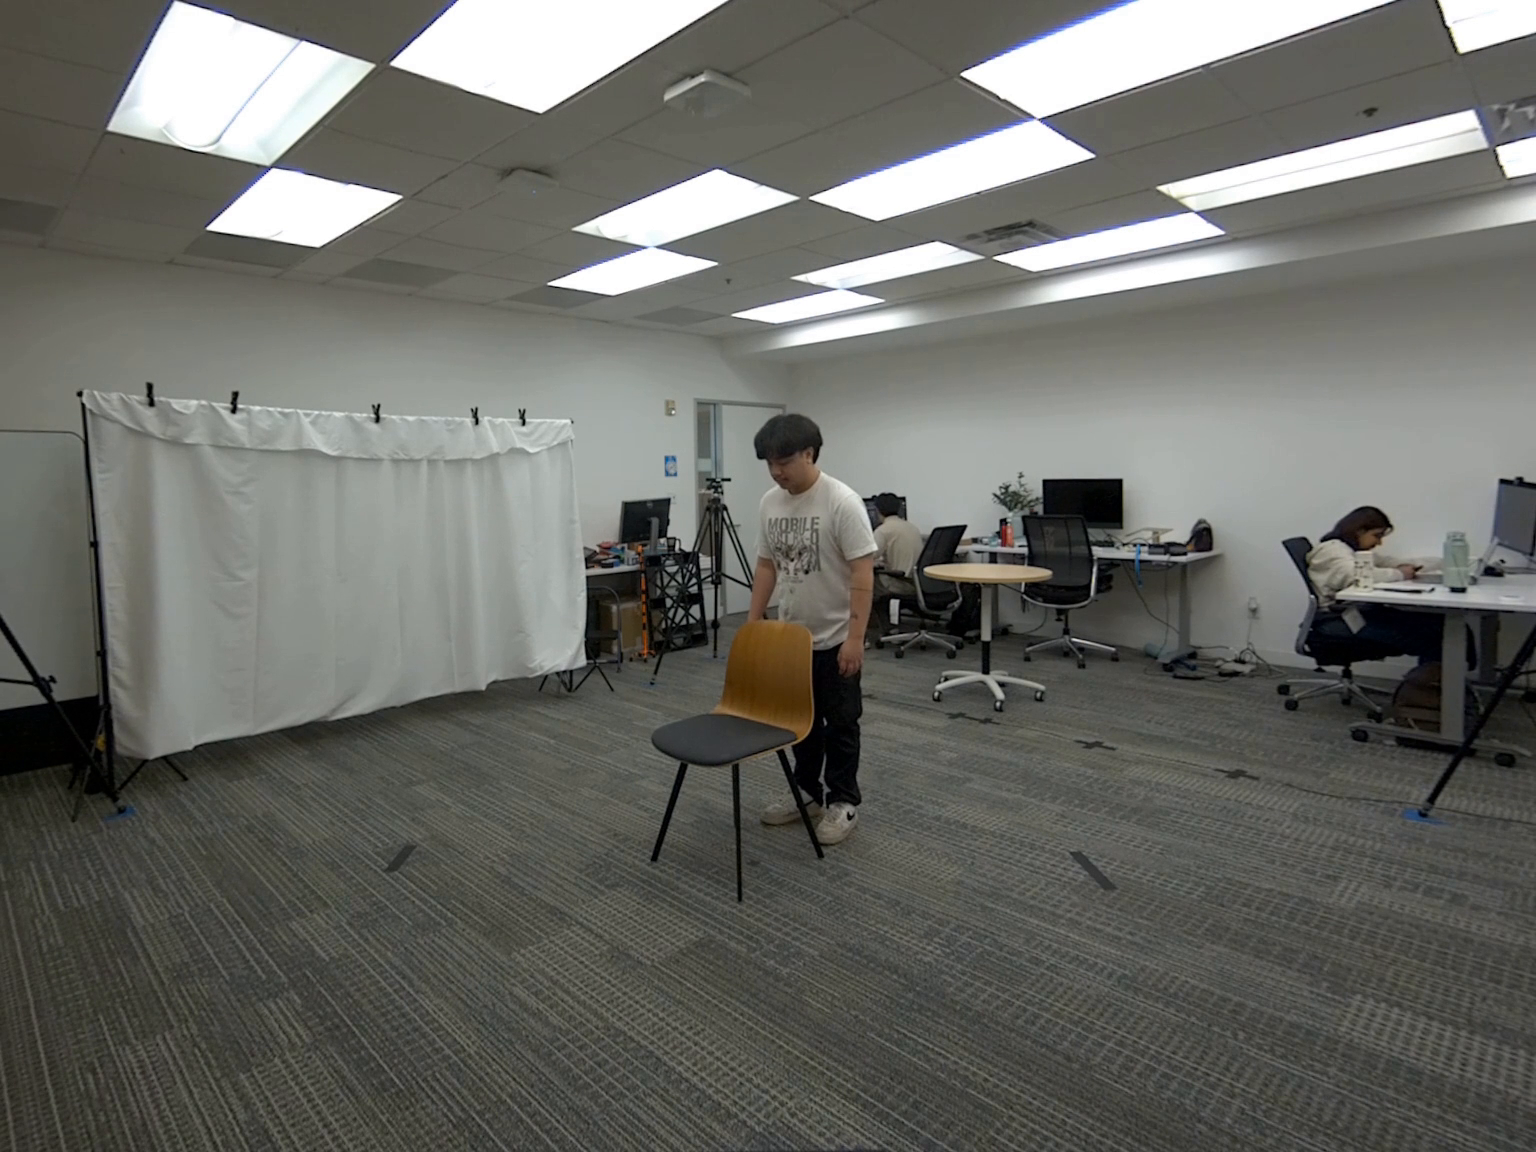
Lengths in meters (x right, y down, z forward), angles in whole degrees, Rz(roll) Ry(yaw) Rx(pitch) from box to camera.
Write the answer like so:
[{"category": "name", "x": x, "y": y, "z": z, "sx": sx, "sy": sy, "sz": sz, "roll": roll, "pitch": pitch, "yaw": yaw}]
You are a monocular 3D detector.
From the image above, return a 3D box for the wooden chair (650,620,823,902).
[{"category": "wooden chair", "x": -0.122, "y": 0.618, "z": 3.090, "sx": 0.493, "sy": 0.876, "sz": 0.508, "roll": 4, "pitch": 2, "yaw": 43}]
